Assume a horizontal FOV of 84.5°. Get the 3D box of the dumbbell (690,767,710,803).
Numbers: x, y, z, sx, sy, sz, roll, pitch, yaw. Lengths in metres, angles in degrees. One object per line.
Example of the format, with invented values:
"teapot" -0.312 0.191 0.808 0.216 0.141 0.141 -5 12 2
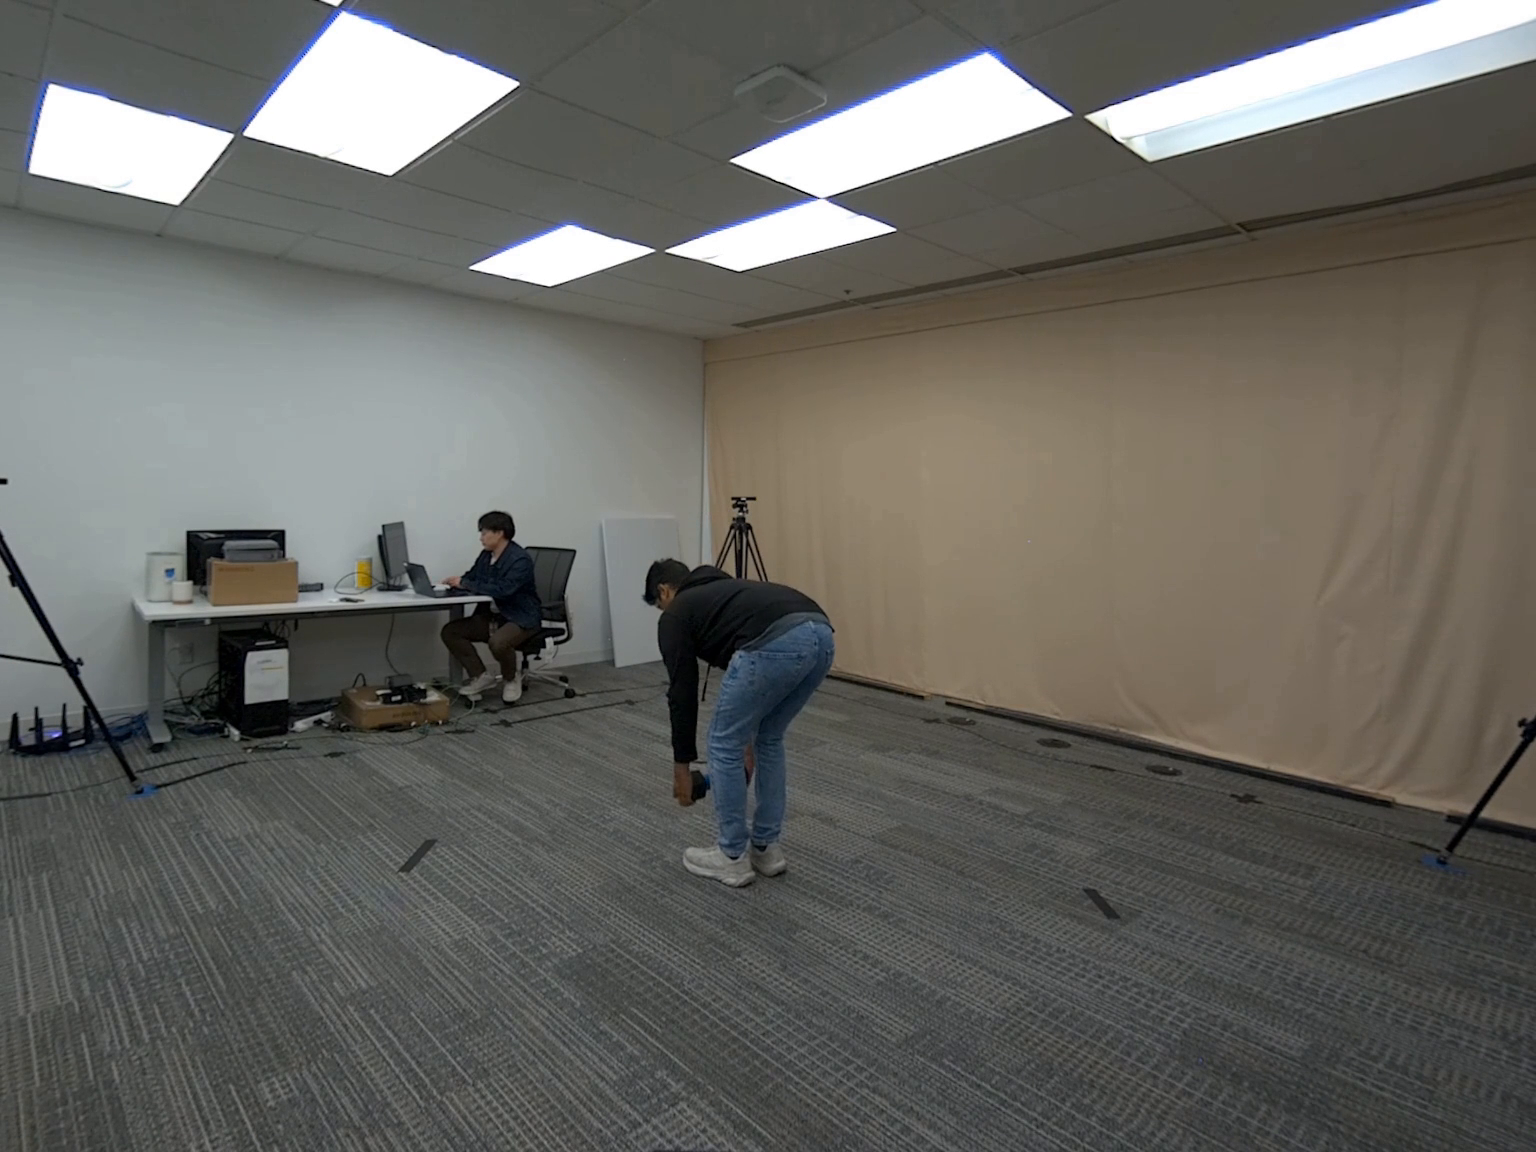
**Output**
"dumbbell" -0.213 0.801 3.283 0.287 0.108 0.127 0 39 -40
